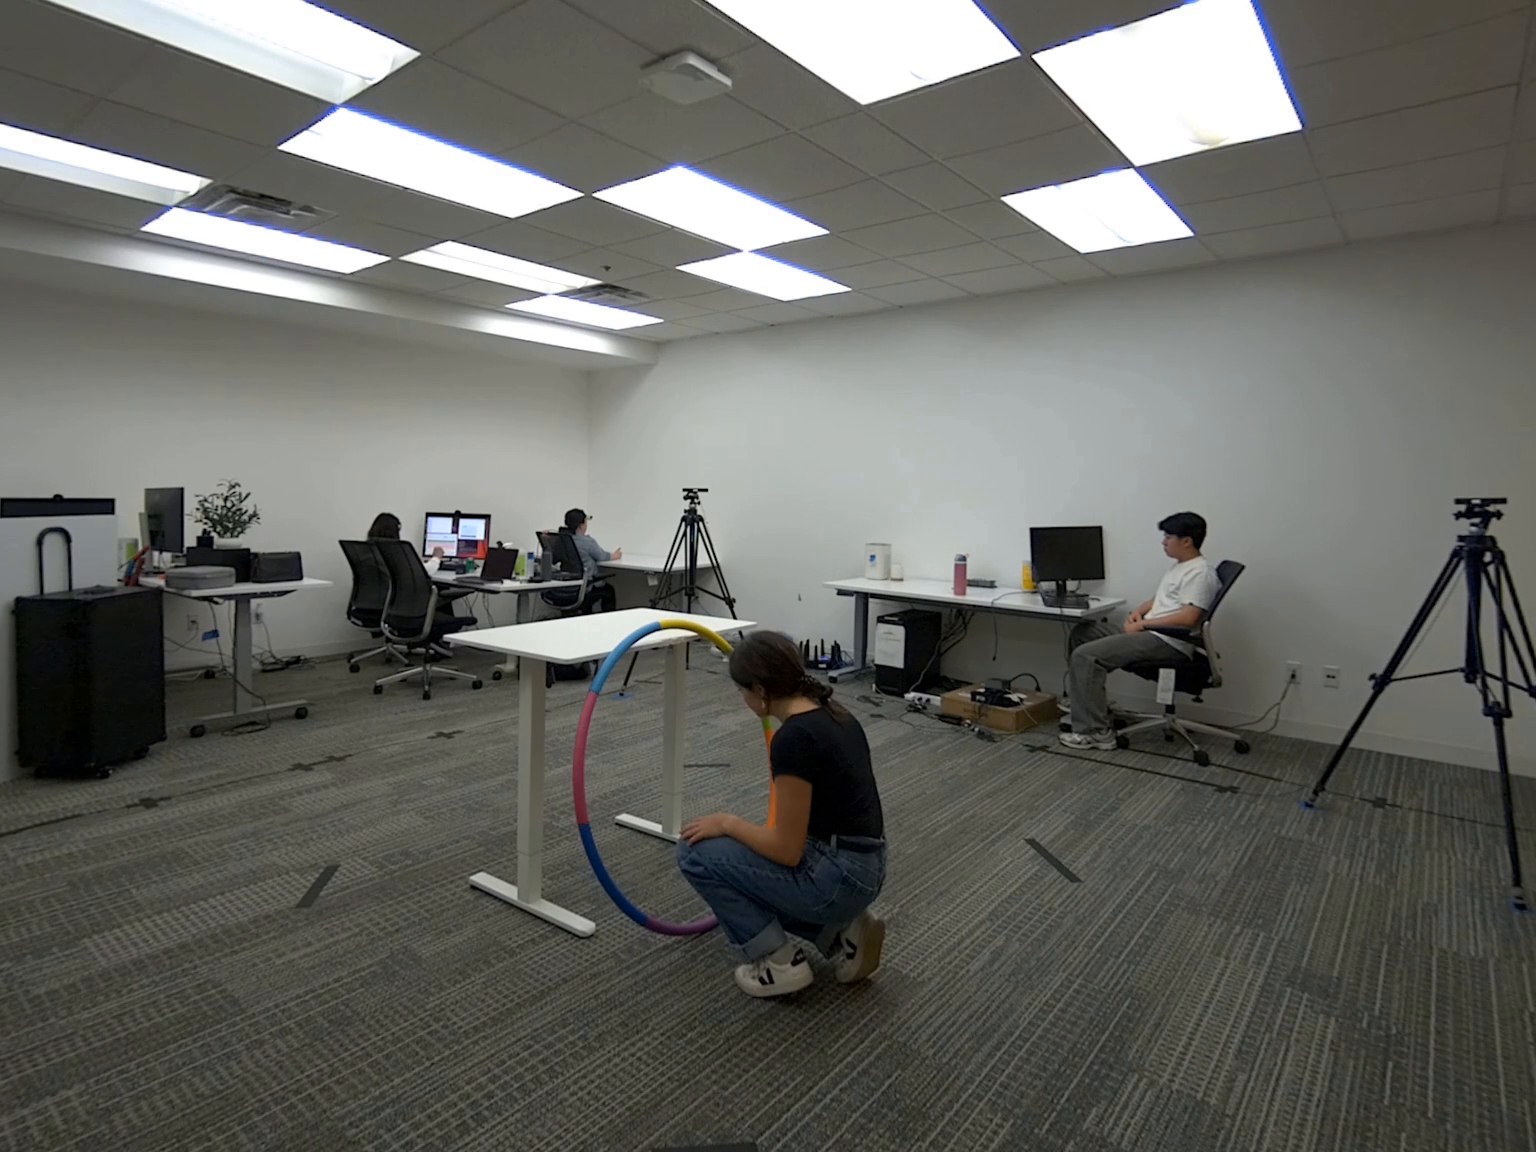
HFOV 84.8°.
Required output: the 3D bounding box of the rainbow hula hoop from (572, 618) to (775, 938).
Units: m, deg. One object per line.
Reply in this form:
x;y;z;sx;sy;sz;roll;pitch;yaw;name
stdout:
-0.247;0.623;2.755;0.036;0.985;0.951;-15;-6;35;rainbow hula hoop
